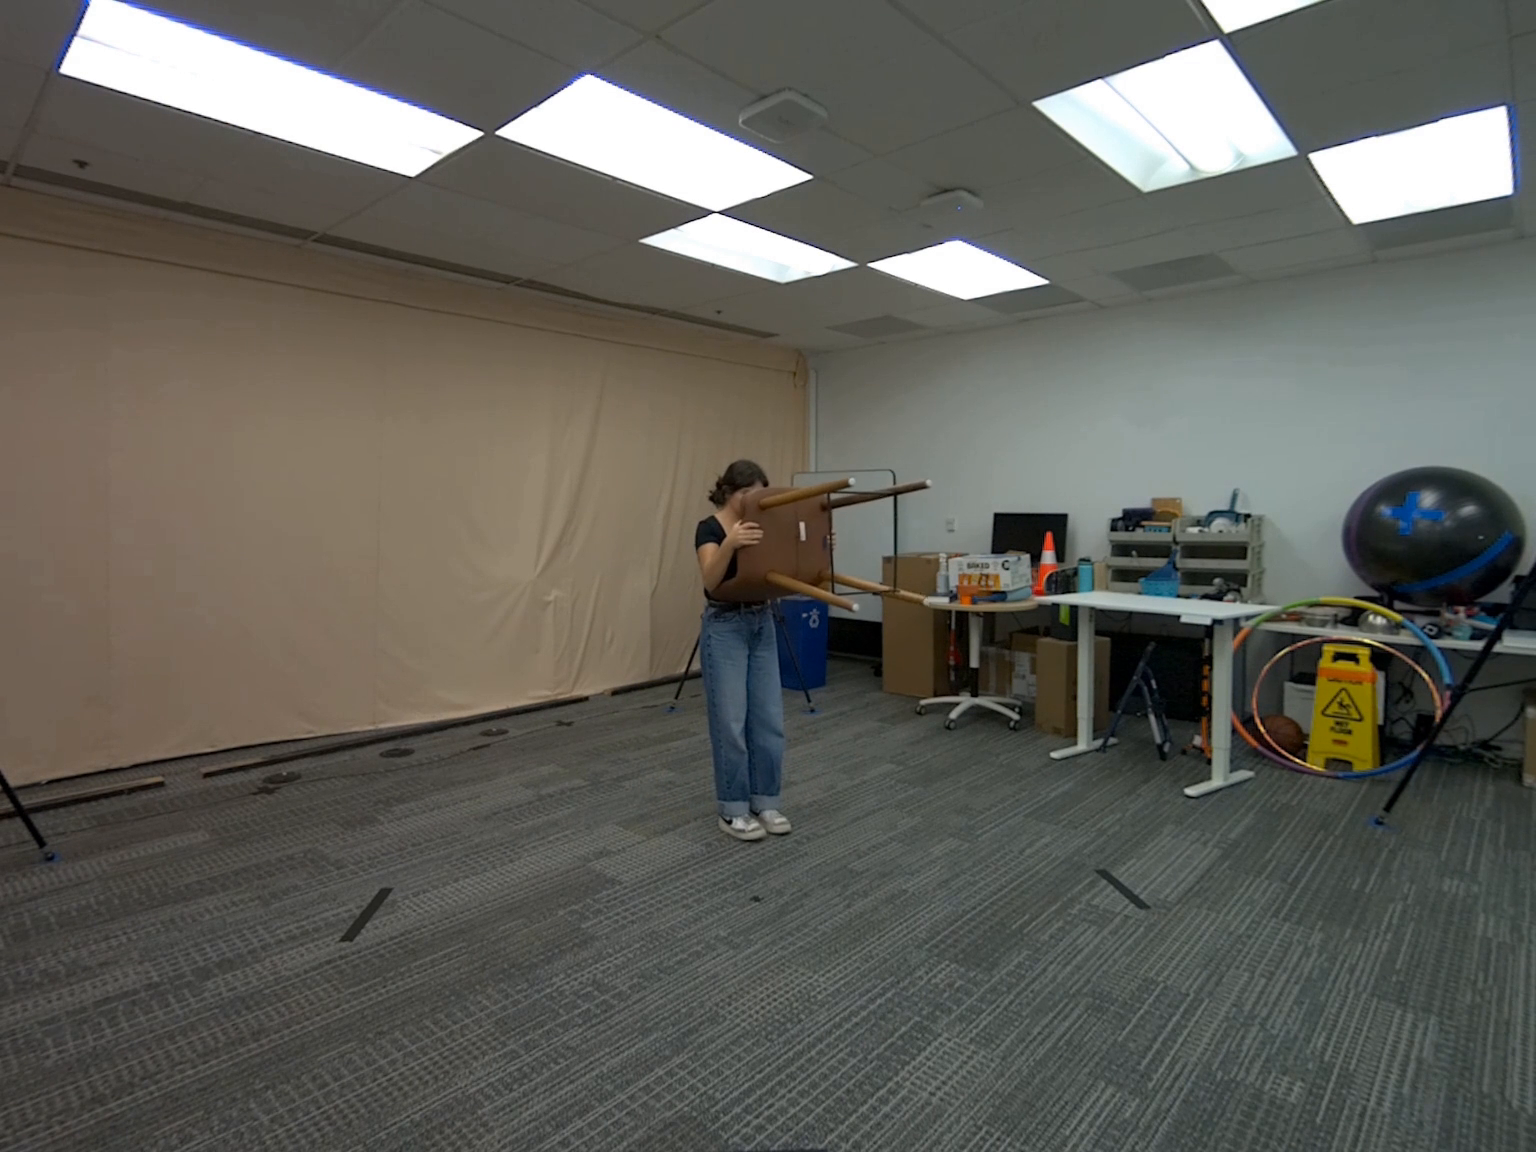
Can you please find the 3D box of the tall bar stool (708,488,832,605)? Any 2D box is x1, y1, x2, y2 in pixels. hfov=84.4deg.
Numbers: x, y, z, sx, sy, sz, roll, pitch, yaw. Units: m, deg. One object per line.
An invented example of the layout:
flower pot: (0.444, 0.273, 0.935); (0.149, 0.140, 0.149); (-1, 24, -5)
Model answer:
tall bar stool: (0.174, -0.118, 3.272); (0.443, 0.467, 0.917); (-4, 2, -38)
